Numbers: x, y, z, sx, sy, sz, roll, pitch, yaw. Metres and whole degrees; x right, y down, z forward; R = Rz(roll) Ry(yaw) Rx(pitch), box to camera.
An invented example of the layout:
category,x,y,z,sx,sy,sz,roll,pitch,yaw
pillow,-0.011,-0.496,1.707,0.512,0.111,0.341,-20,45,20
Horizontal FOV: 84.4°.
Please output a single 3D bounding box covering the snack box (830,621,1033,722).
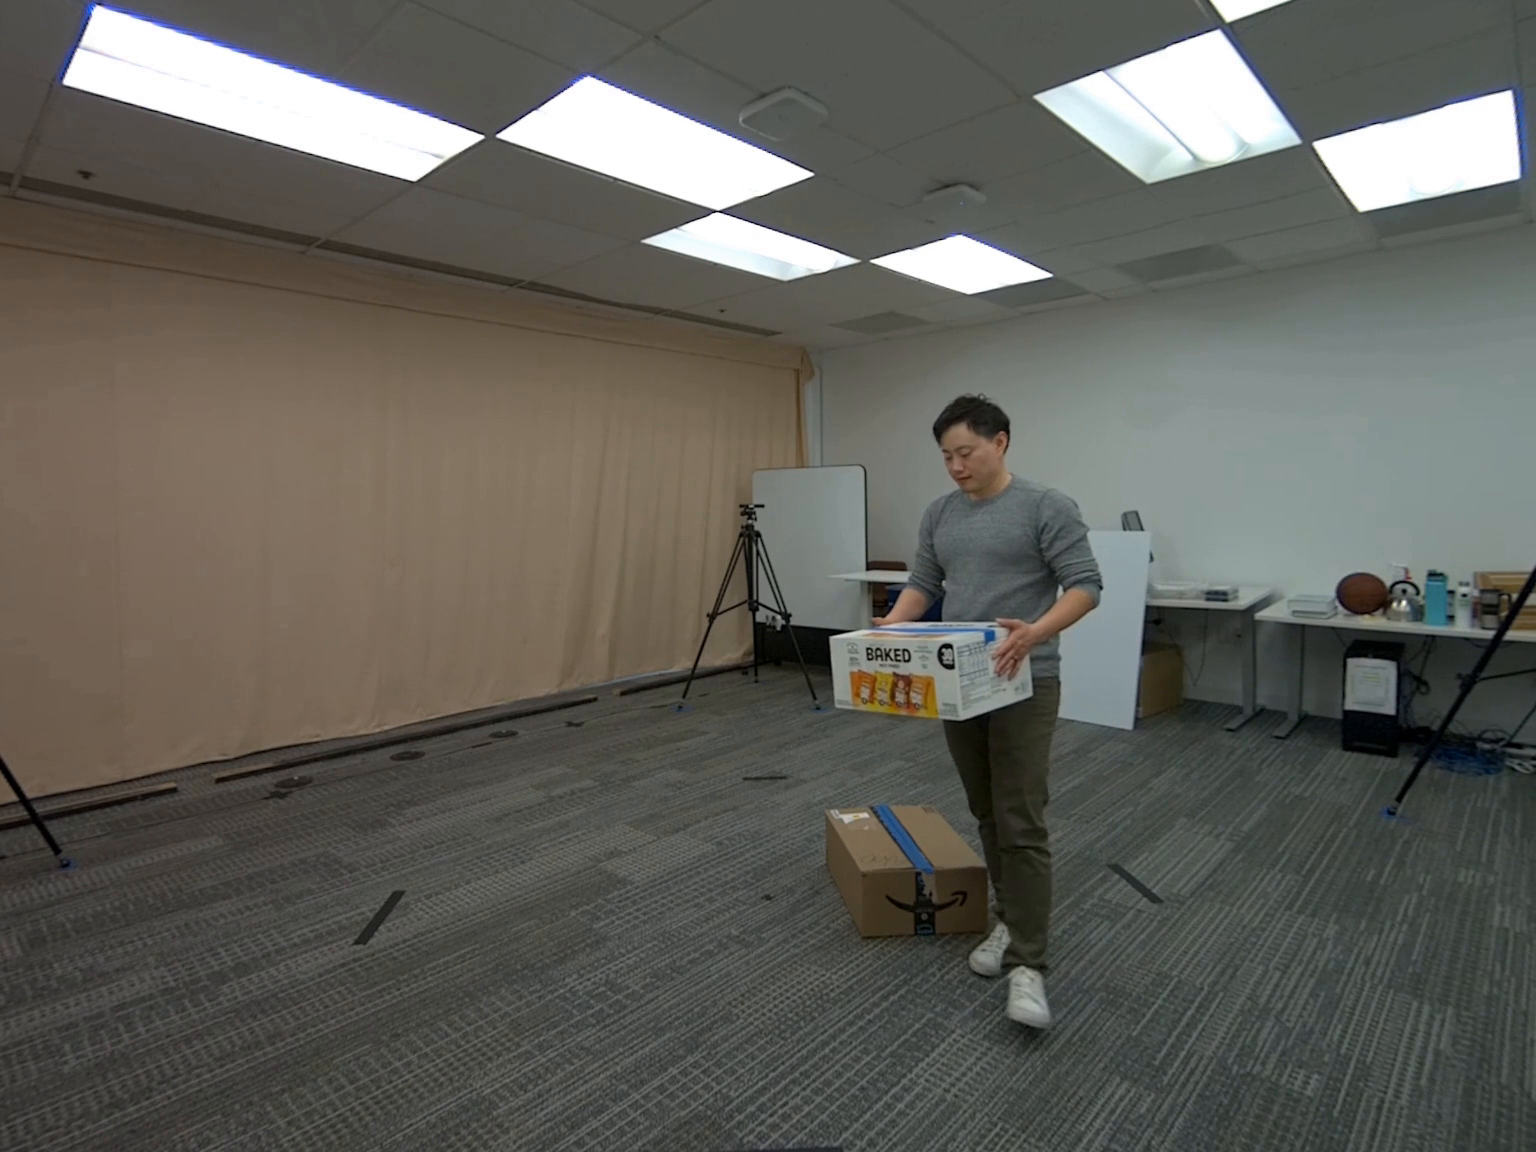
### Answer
category,x,y,z,sx,sy,sz,roll,pitch,yaw
snack box,0.449,0.253,2.306,0.330,0.205,0.417,-6,2,-42
